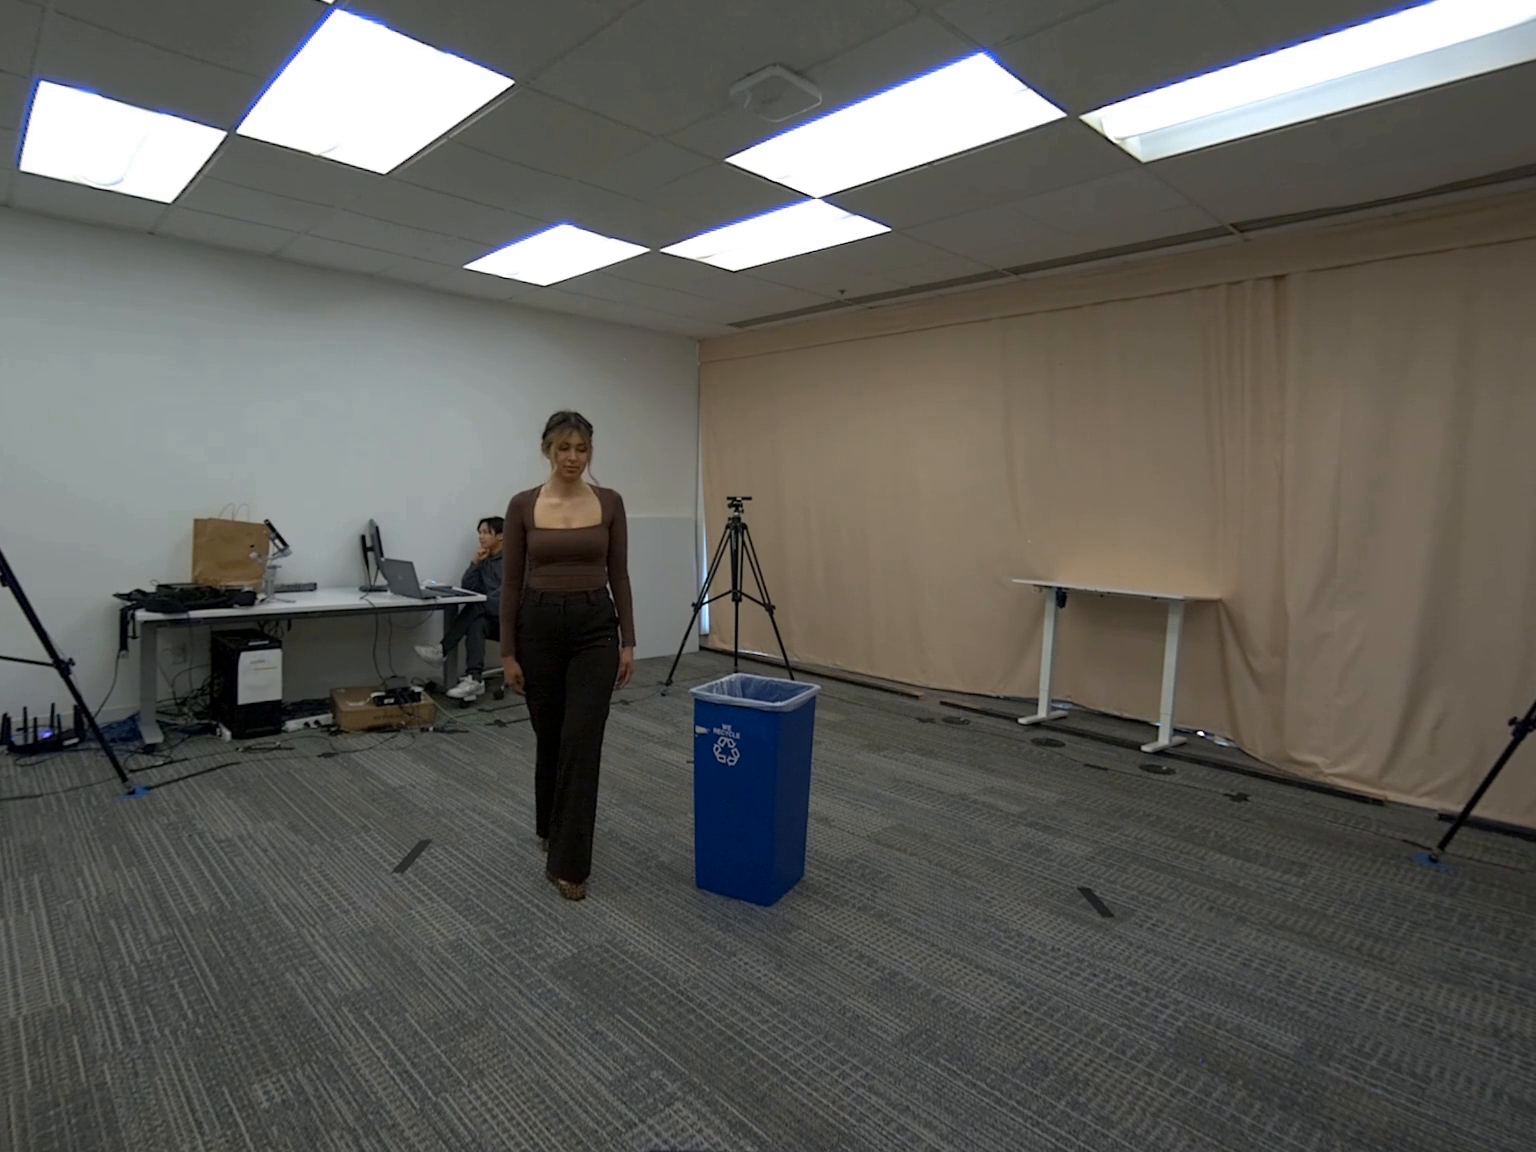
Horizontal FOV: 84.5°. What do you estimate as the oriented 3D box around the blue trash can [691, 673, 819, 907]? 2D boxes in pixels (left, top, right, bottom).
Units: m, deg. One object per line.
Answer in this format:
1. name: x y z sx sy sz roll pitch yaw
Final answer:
1. blue trash can: -0.054 0.754 3.042 0.382 0.712 0.371 3 4 28
